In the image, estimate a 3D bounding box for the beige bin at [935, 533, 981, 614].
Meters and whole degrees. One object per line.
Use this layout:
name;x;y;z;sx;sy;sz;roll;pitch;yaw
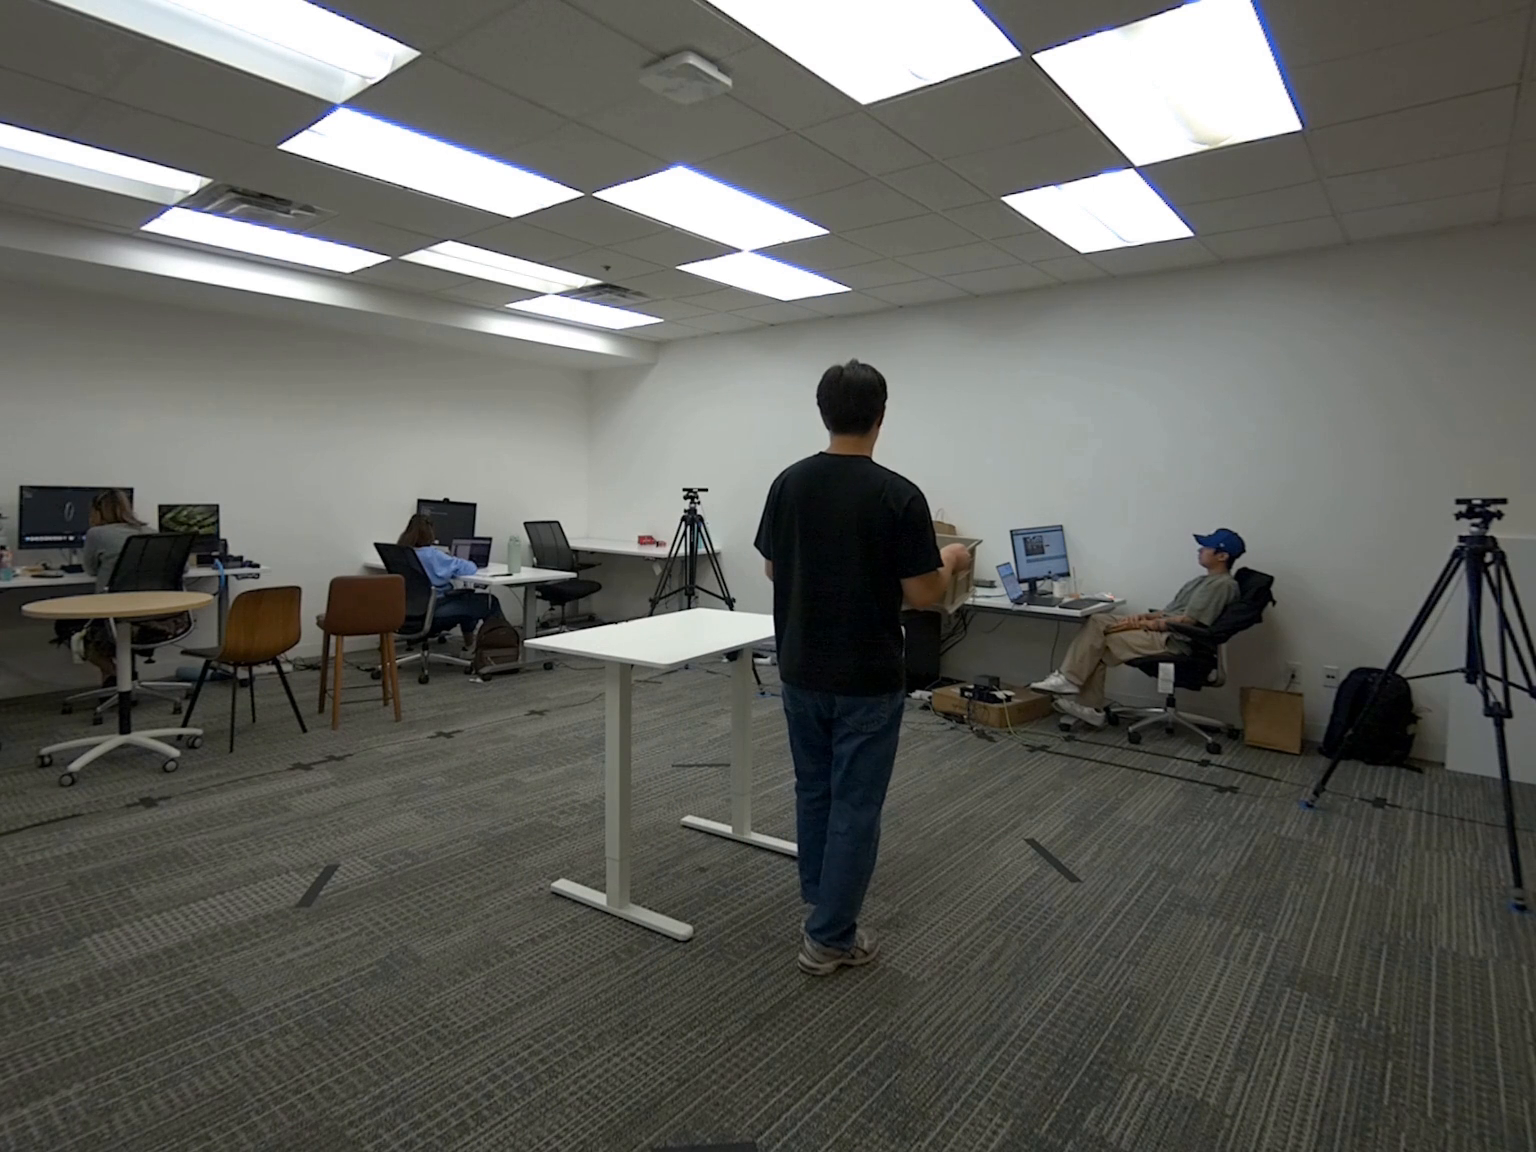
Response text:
beige bin;0.435;-0.026;2.804;0.435;0.187;0.370;7;13;29
